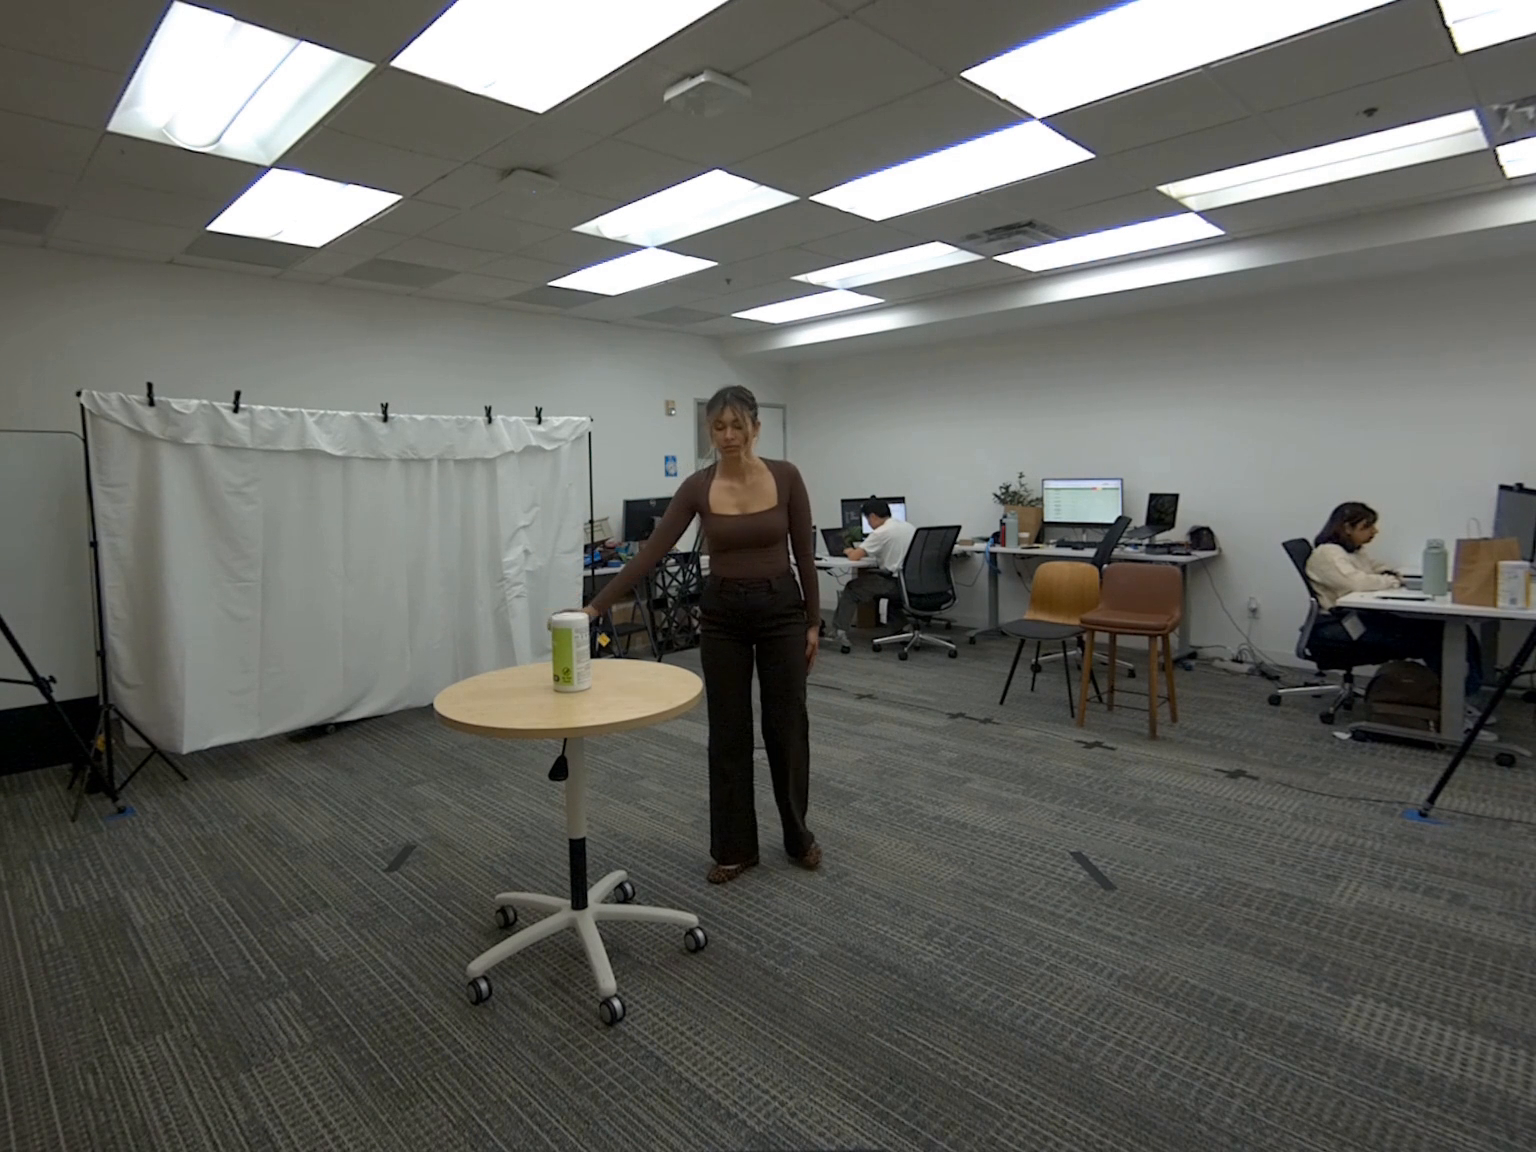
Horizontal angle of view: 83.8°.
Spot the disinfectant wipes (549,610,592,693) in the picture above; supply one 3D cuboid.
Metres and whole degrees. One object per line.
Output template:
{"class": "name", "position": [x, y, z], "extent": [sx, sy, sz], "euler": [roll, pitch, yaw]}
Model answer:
{"class": "disinfectant wipes", "position": [-0.573, 0.223, 2.481], "extent": [0.118, 0.216, 0.118], "euler": [-1, 5, -2]}
